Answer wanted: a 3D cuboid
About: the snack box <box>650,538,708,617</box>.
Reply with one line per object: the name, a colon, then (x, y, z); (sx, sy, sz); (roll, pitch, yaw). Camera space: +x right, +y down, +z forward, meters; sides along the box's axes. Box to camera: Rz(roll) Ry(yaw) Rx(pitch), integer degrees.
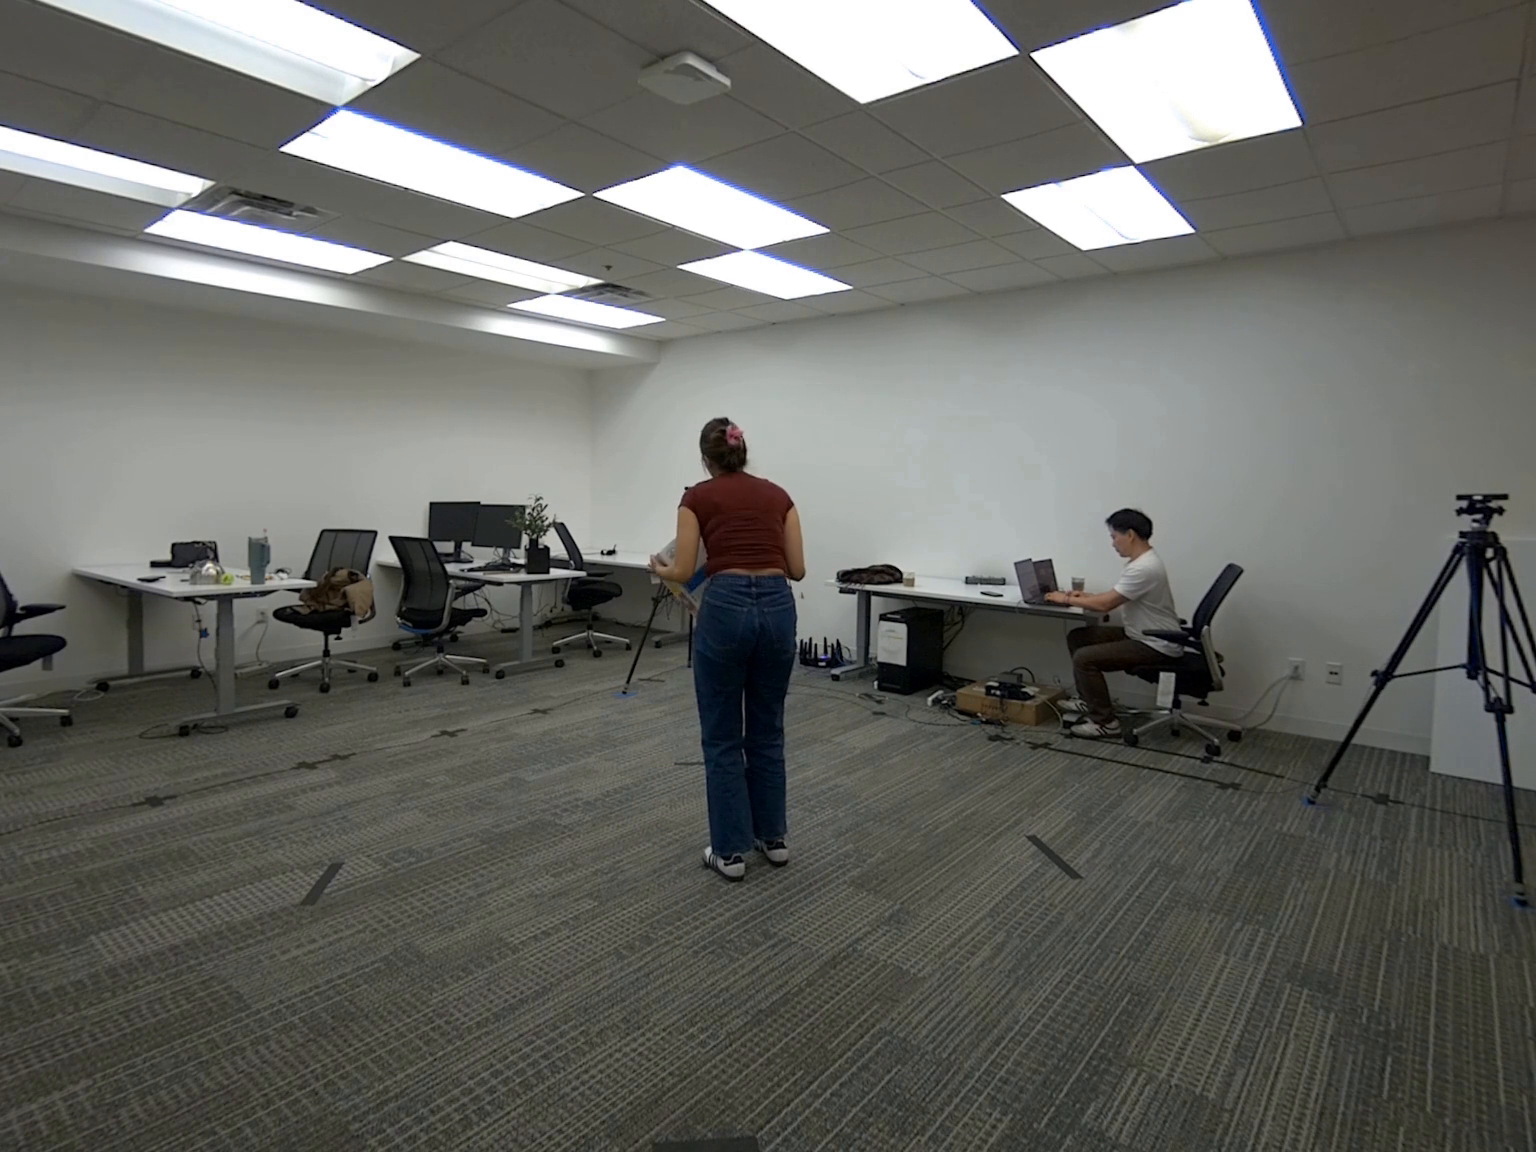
snack box: (-0.213, -0.054, 3.411); (0.404, 0.341, 0.206); (-43, -1, -21)
